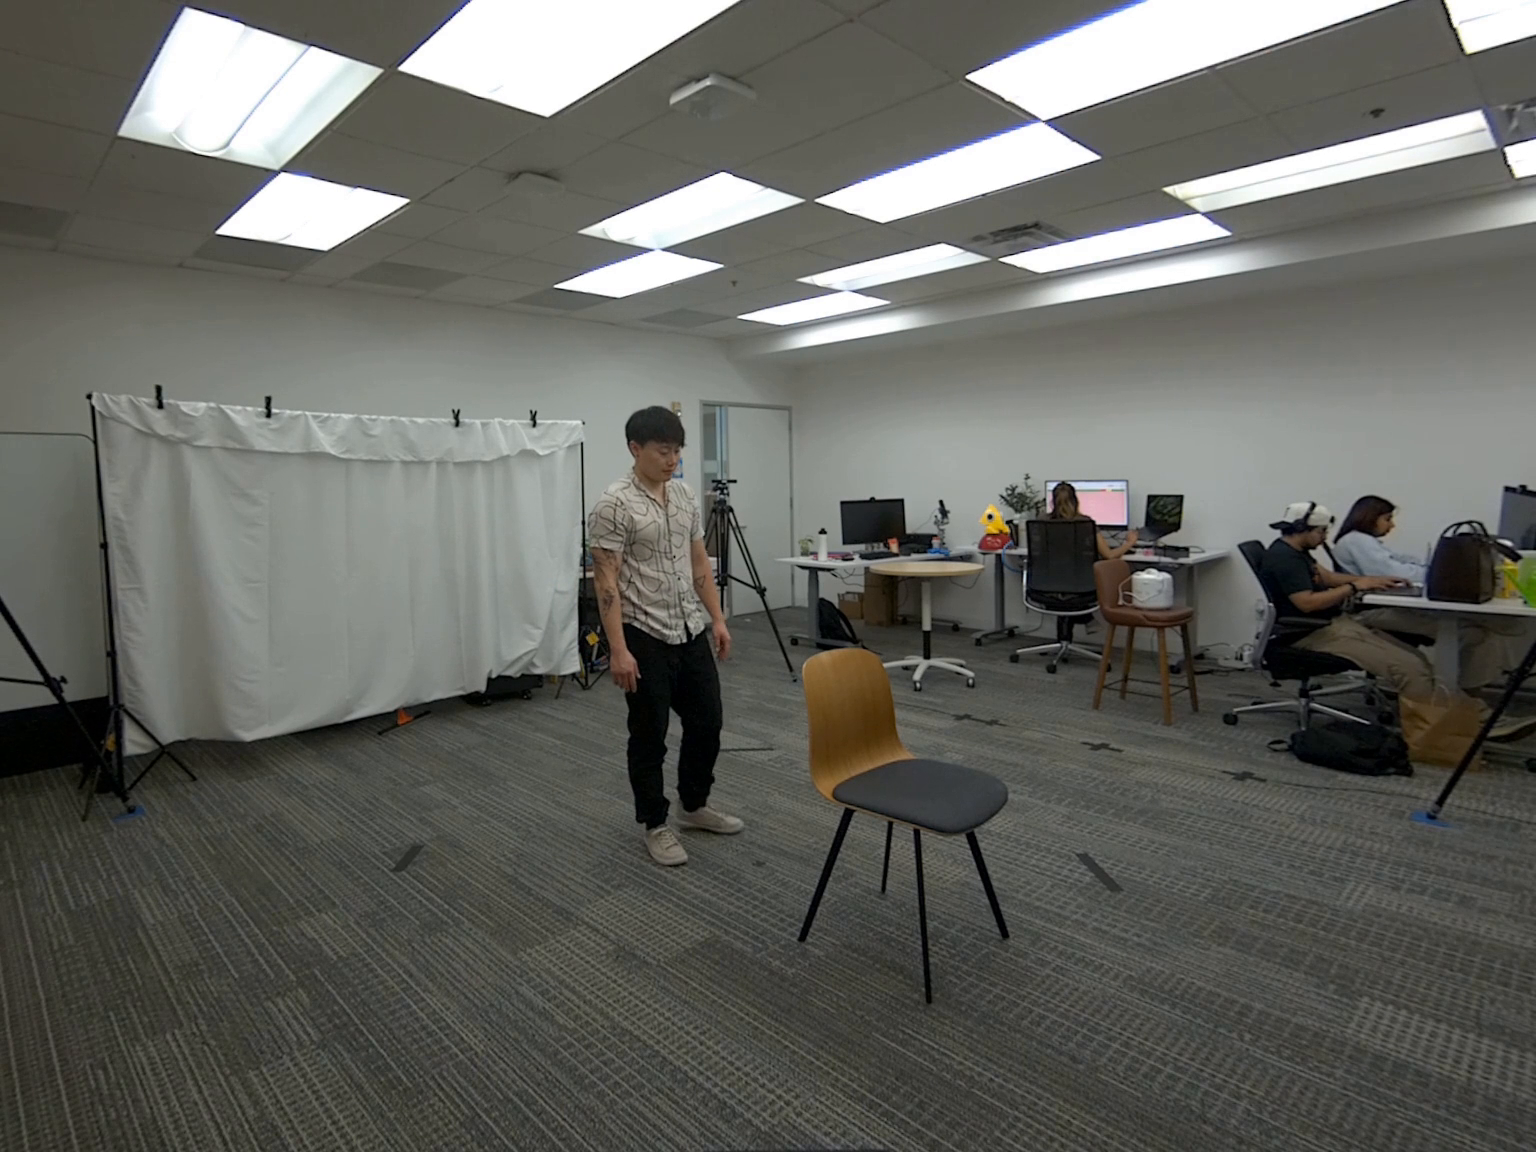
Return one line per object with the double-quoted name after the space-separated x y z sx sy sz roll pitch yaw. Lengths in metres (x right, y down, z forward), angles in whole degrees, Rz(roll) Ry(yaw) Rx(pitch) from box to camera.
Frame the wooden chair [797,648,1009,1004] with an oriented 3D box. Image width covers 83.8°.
0.410 0.675 2.544 0.537 0.877 0.465 -3 1 43 "wooden chair"
